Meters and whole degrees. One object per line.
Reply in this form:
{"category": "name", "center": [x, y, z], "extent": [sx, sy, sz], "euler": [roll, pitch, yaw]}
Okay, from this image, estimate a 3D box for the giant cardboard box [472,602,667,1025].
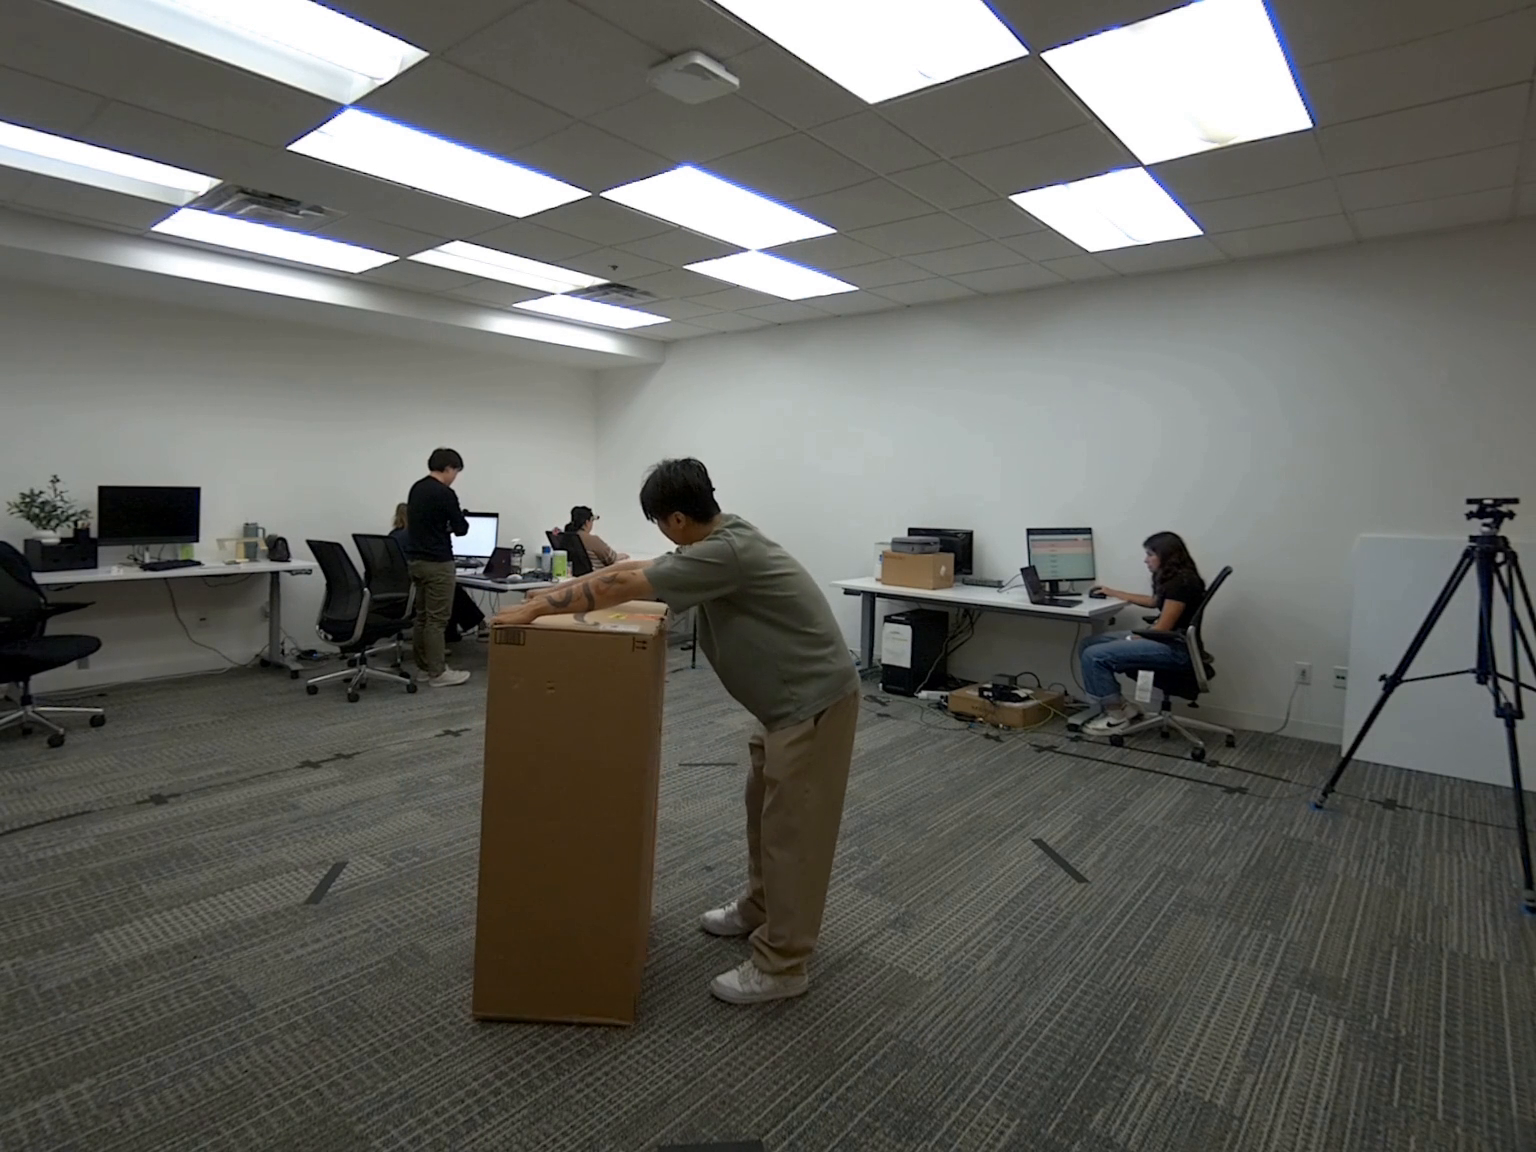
{"category": "giant cardboard box", "center": [-0.545, 0.612, 2.446], "extent": [0.425, 1.024, 0.580], "euler": [3, 3, -3]}
